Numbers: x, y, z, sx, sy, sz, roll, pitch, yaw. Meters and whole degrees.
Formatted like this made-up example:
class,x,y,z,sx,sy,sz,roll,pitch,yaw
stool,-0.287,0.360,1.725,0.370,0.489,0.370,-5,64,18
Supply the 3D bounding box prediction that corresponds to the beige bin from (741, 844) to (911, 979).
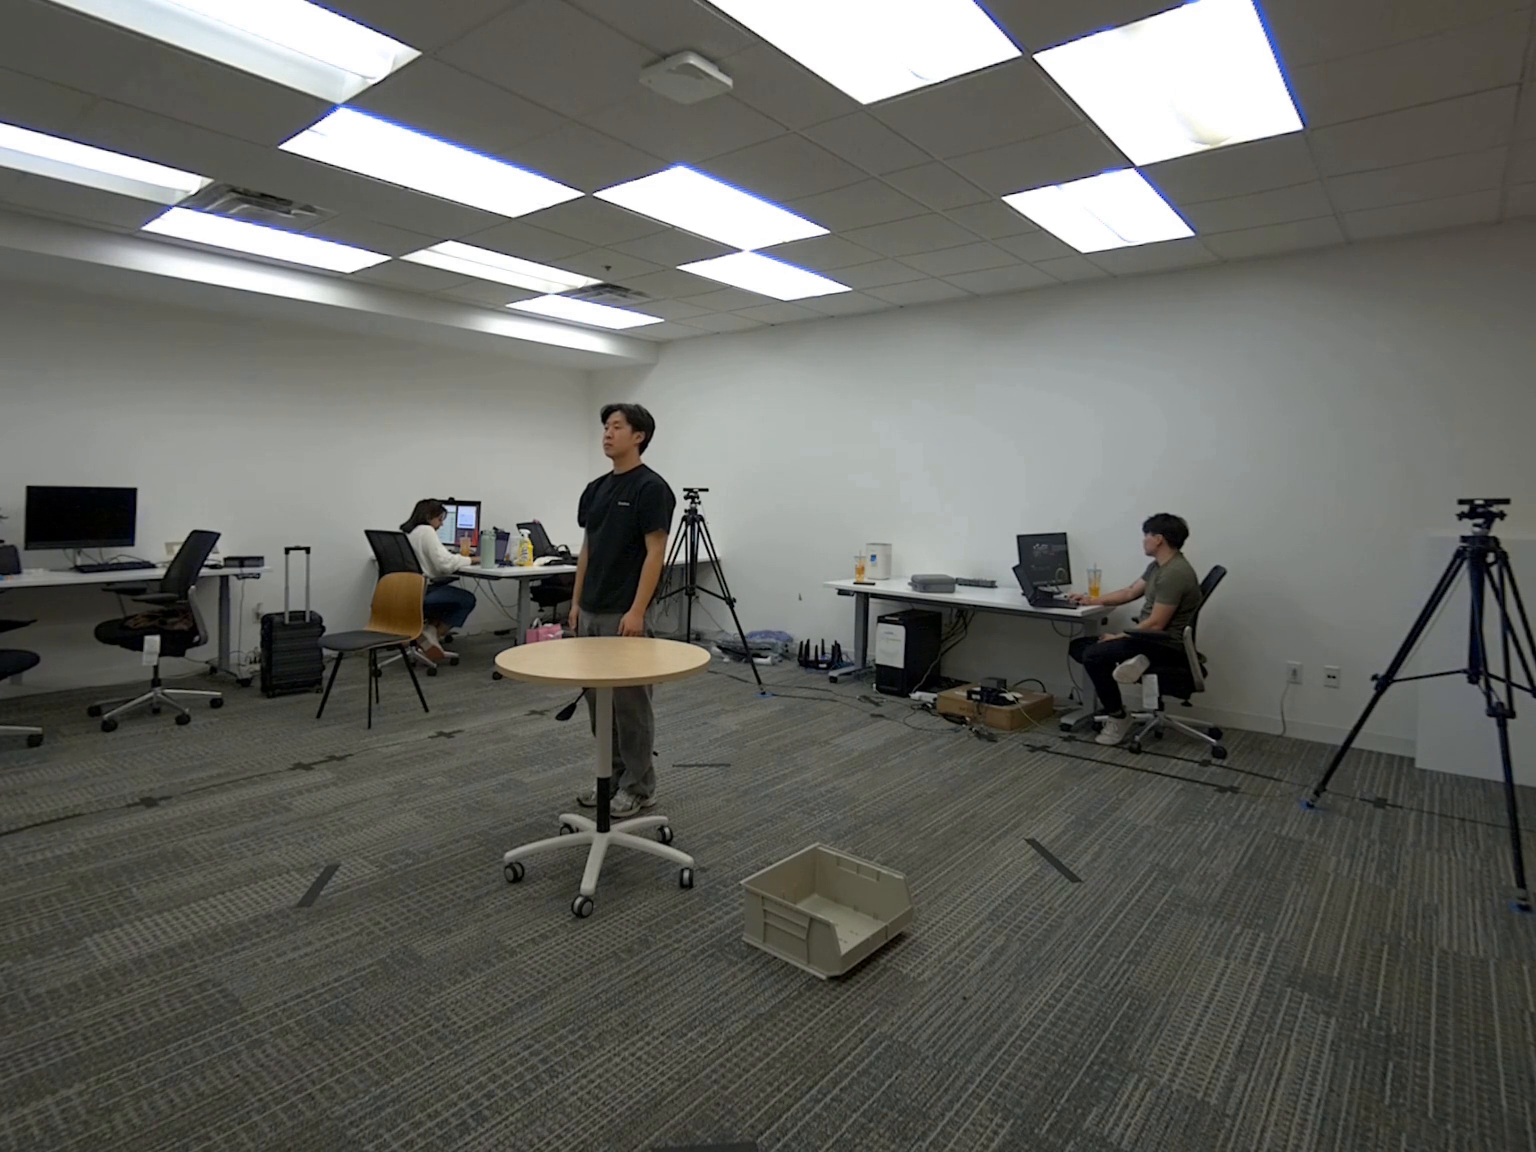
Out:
class,x,y,z,sx,sy,sz,roll,pitch,yaw
beige bin,0.181,1.034,2.650,0.390,0.188,0.410,4,6,40
